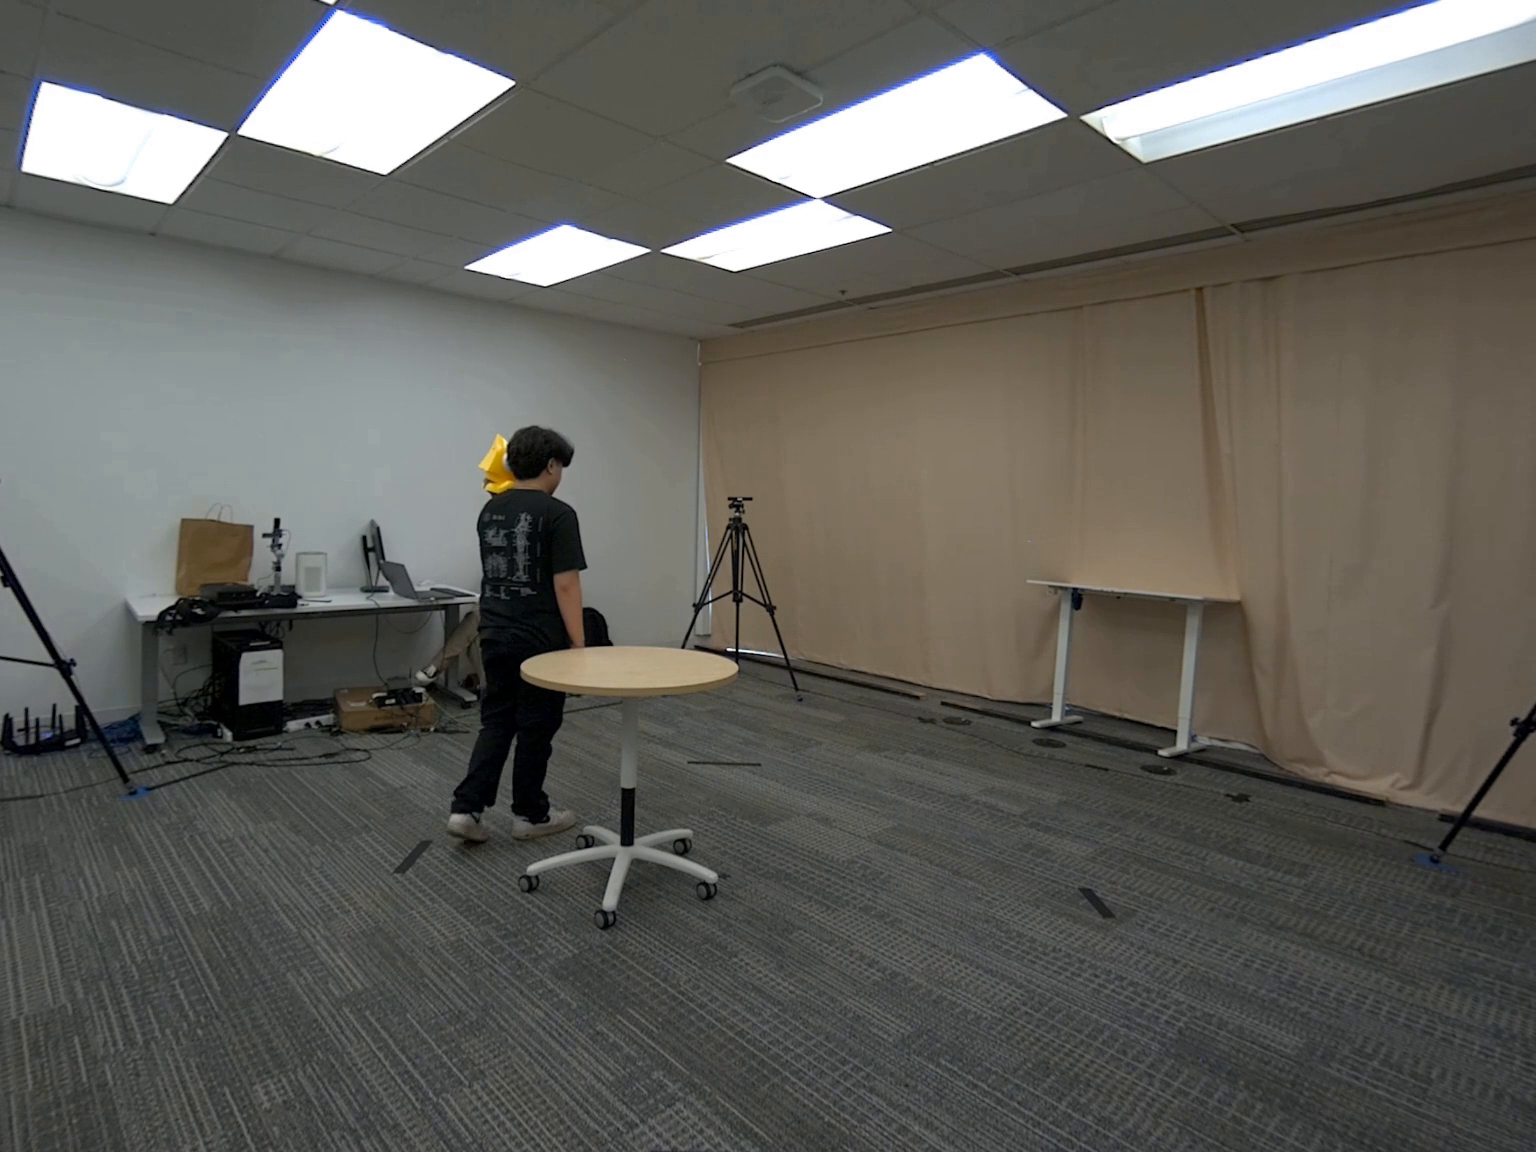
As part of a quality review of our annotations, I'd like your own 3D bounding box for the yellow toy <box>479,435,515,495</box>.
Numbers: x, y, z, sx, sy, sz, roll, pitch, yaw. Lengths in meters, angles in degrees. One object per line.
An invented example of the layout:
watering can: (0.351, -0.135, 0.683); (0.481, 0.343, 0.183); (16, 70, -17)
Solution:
yellow toy: (-1.092, -0.461, 3.489); (0.188, 0.230, 0.210); (10, 5, -30)
